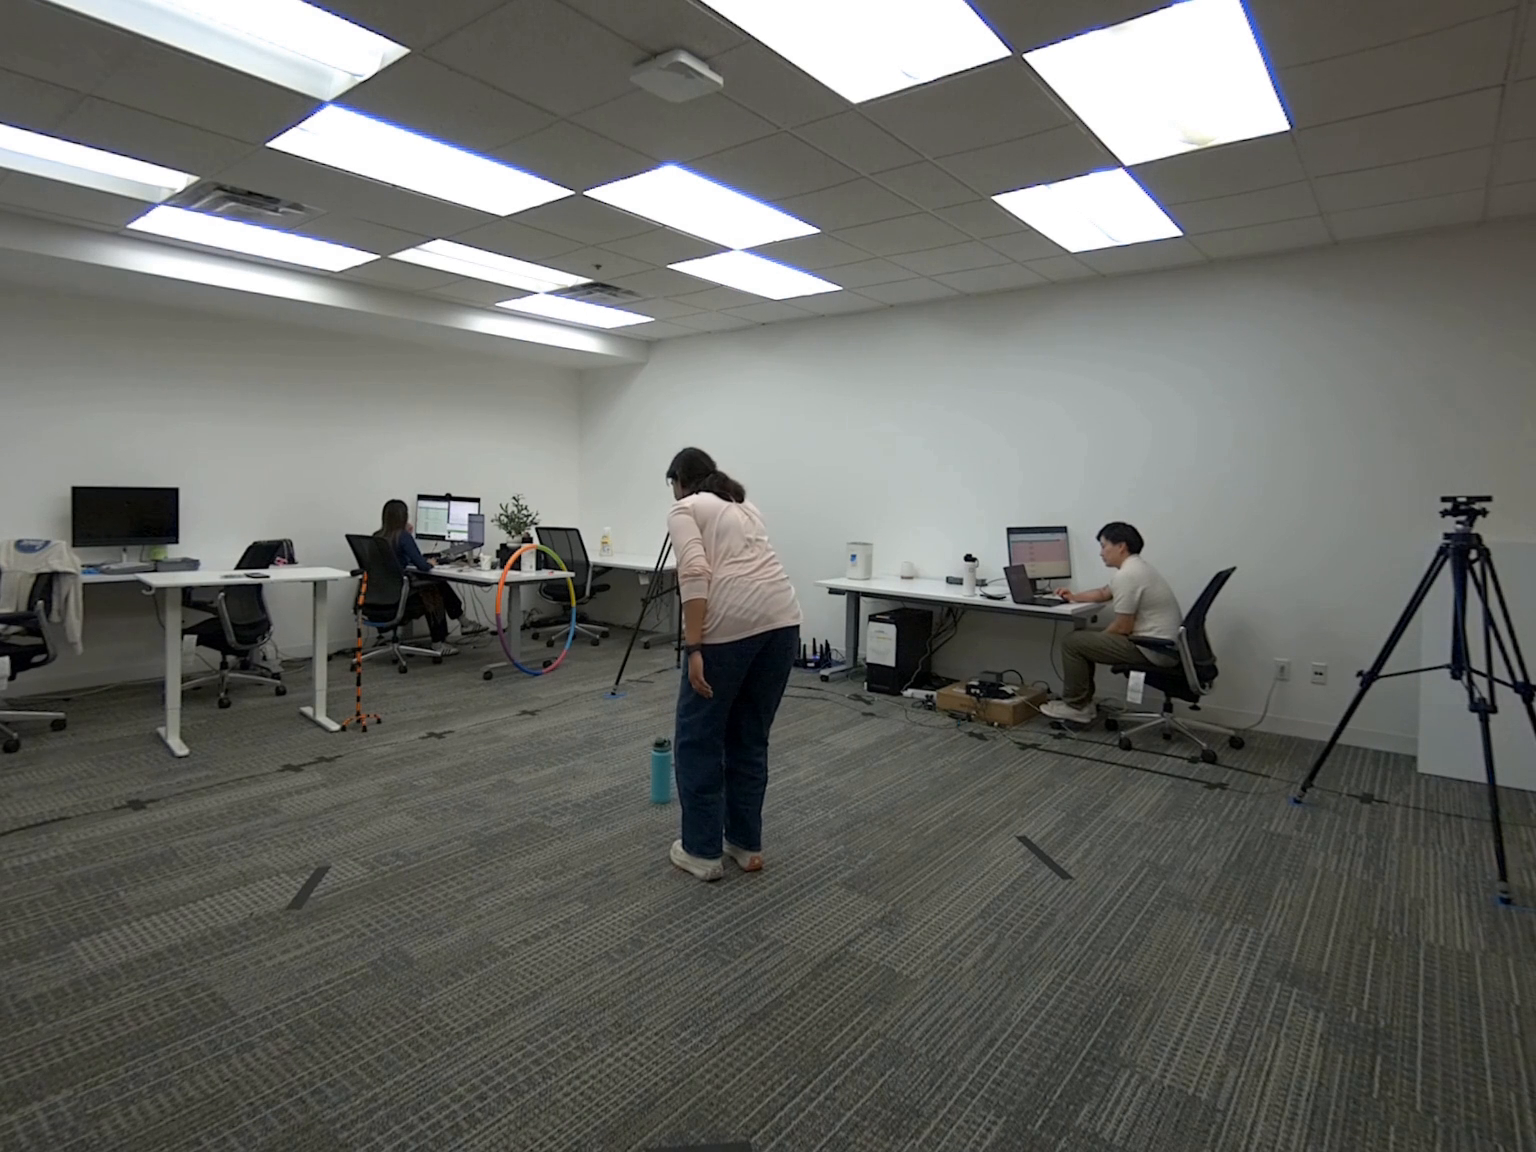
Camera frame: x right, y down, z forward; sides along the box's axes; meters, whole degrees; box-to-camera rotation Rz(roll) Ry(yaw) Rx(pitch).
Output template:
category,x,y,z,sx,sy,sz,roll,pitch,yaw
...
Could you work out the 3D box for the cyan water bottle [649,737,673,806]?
category,x,y,z,sx,sy,sz,roll,pitch,yaw
cyan water bottle,-0.489,0.857,3.784,0.092,0.283,0.092,0,2,-2
